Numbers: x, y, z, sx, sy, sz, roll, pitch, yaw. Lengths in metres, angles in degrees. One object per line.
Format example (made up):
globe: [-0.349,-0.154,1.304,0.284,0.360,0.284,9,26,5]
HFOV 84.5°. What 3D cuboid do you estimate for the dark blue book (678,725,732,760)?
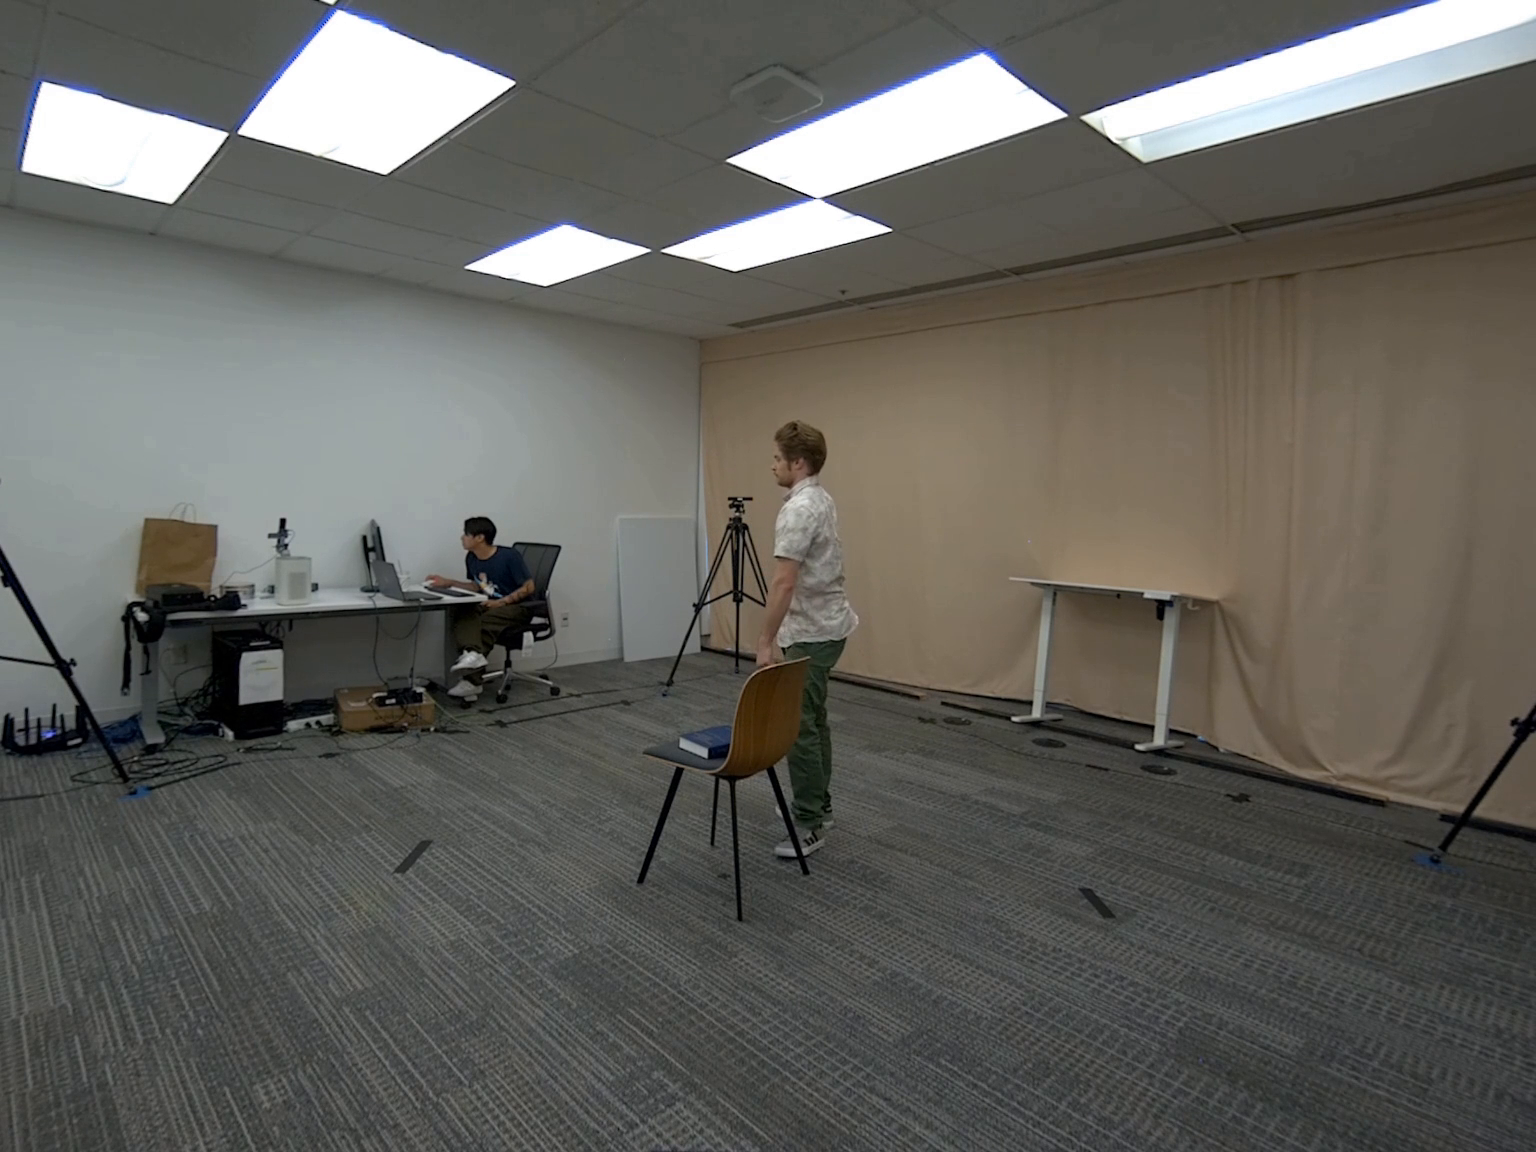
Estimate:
dark blue book: [-0.185,0.602,3.067,0.168,0.045,0.239,10,9,43]
